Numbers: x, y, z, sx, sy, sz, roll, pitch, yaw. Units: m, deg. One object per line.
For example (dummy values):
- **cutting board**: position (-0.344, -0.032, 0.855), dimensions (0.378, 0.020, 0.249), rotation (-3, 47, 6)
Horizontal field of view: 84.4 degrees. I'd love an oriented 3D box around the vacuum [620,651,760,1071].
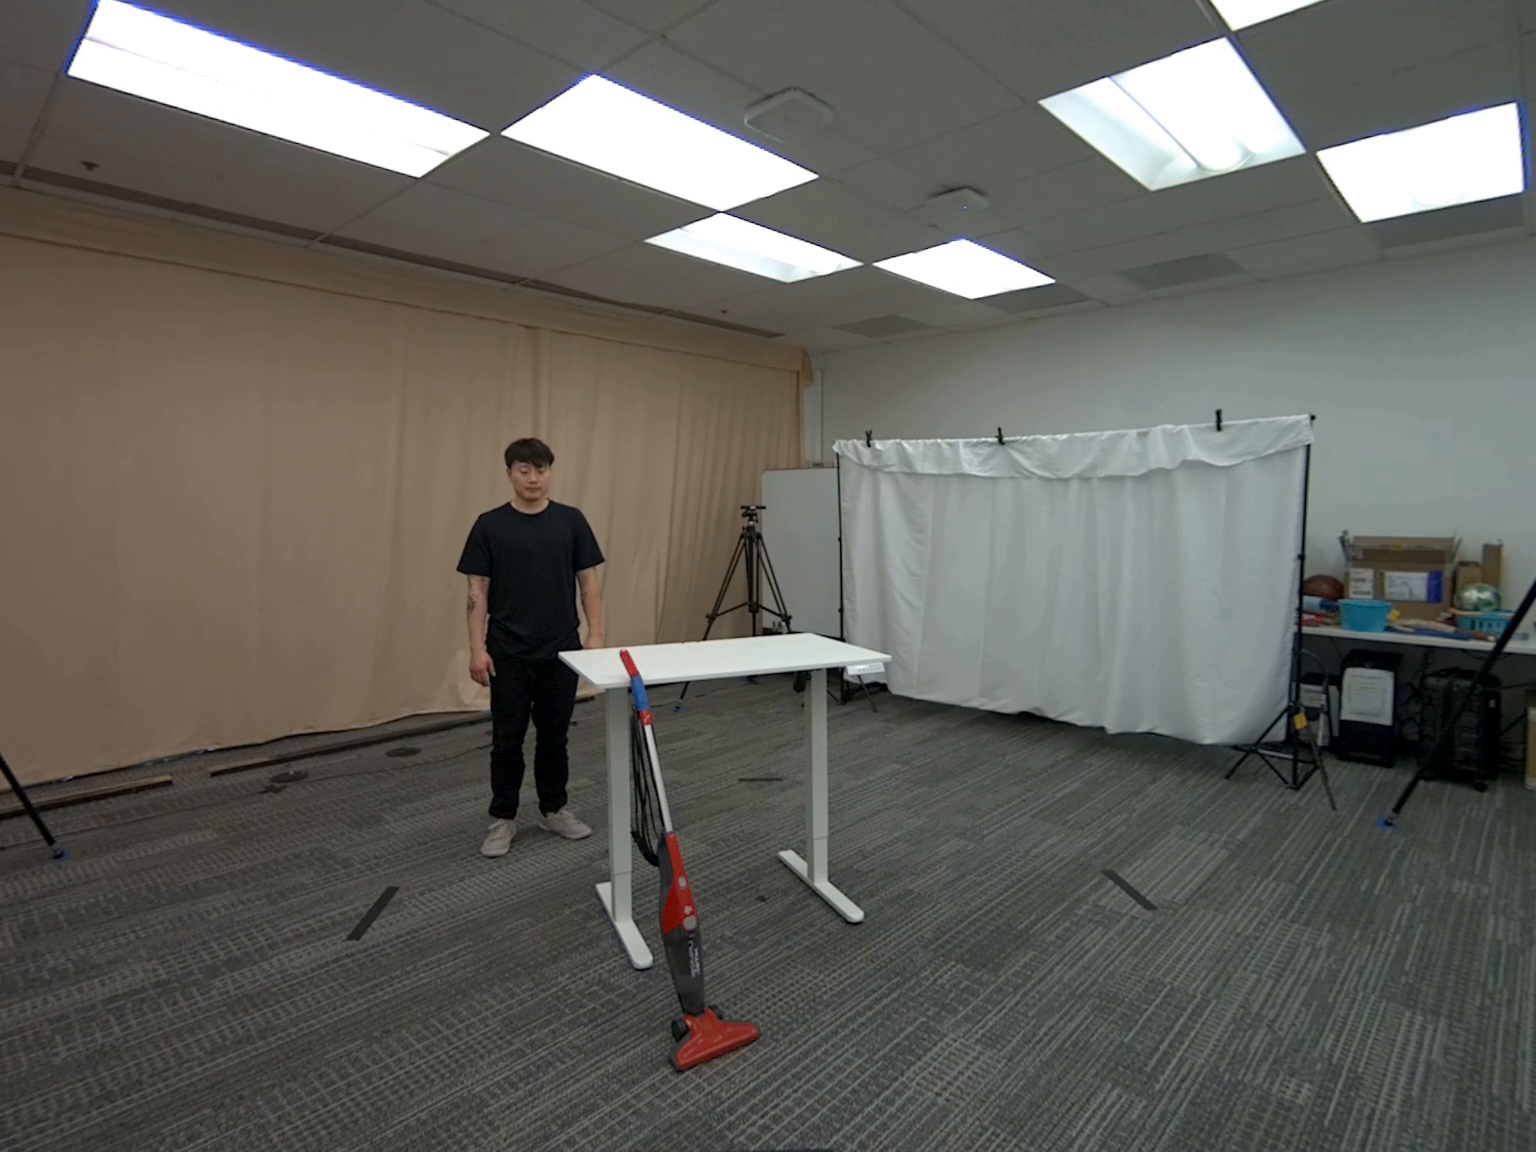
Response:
- **vacuum**: position (-0.289, 0.719, 2.344), dimensions (0.245, 1.065, 0.146), rotation (-1, -22, -40)
